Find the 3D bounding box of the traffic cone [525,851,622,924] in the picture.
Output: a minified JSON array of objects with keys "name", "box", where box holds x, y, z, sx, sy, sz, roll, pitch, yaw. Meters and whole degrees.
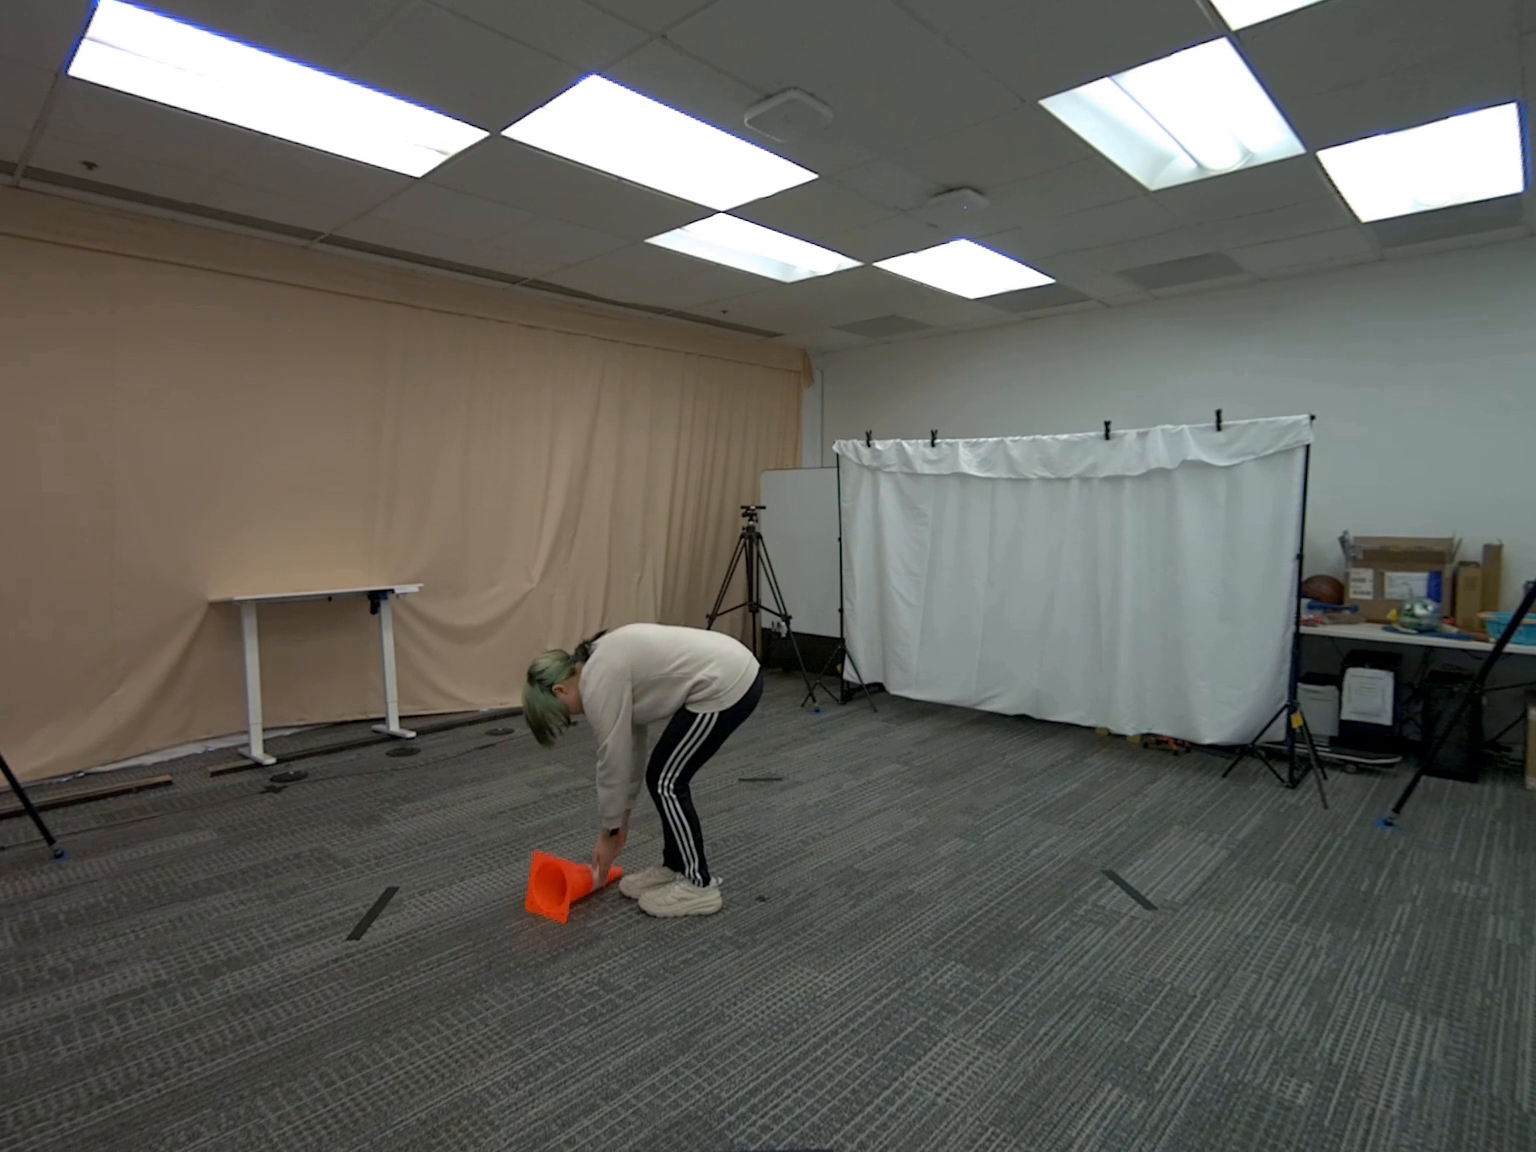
[{"name":"traffic cone","box":[-0.649,1.094,3.031,0.211,0.204,0.371,2,-8,33]}]
